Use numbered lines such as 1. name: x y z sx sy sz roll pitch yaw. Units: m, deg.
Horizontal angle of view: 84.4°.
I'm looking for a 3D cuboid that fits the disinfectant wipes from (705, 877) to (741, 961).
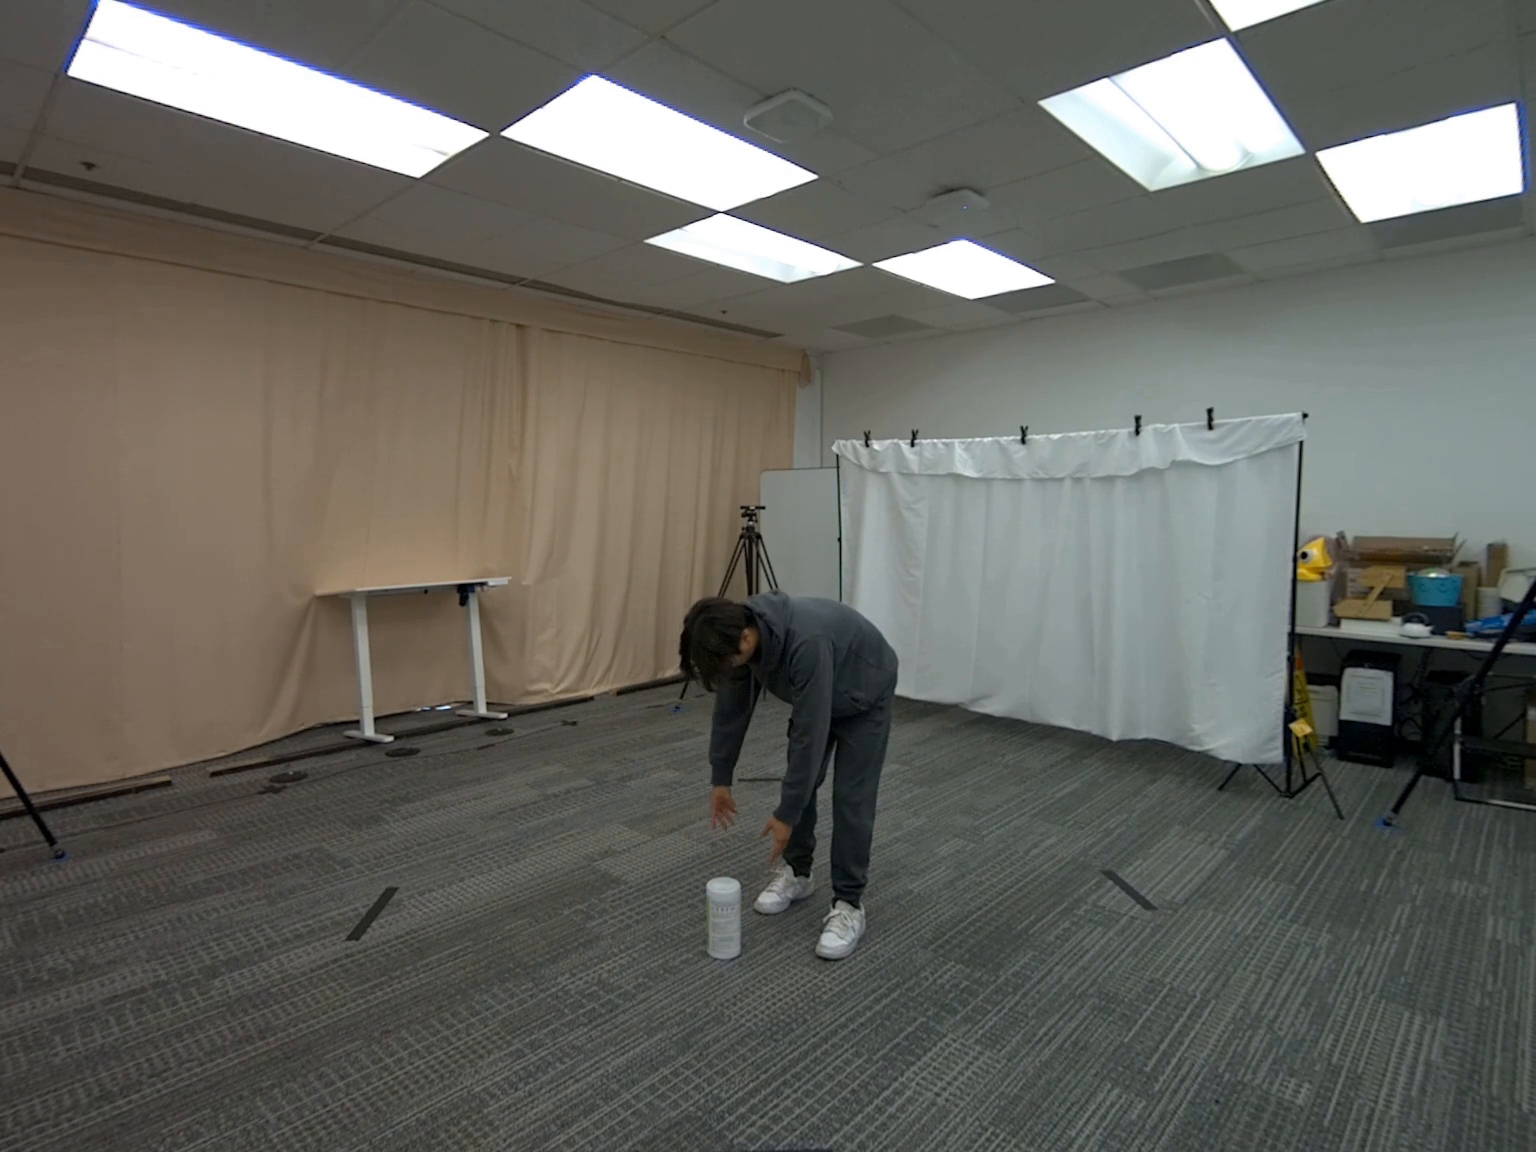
1. disinfectant wipes: -0.122 1.067 2.627 0.118 0.217 0.118 -2 2 -2
